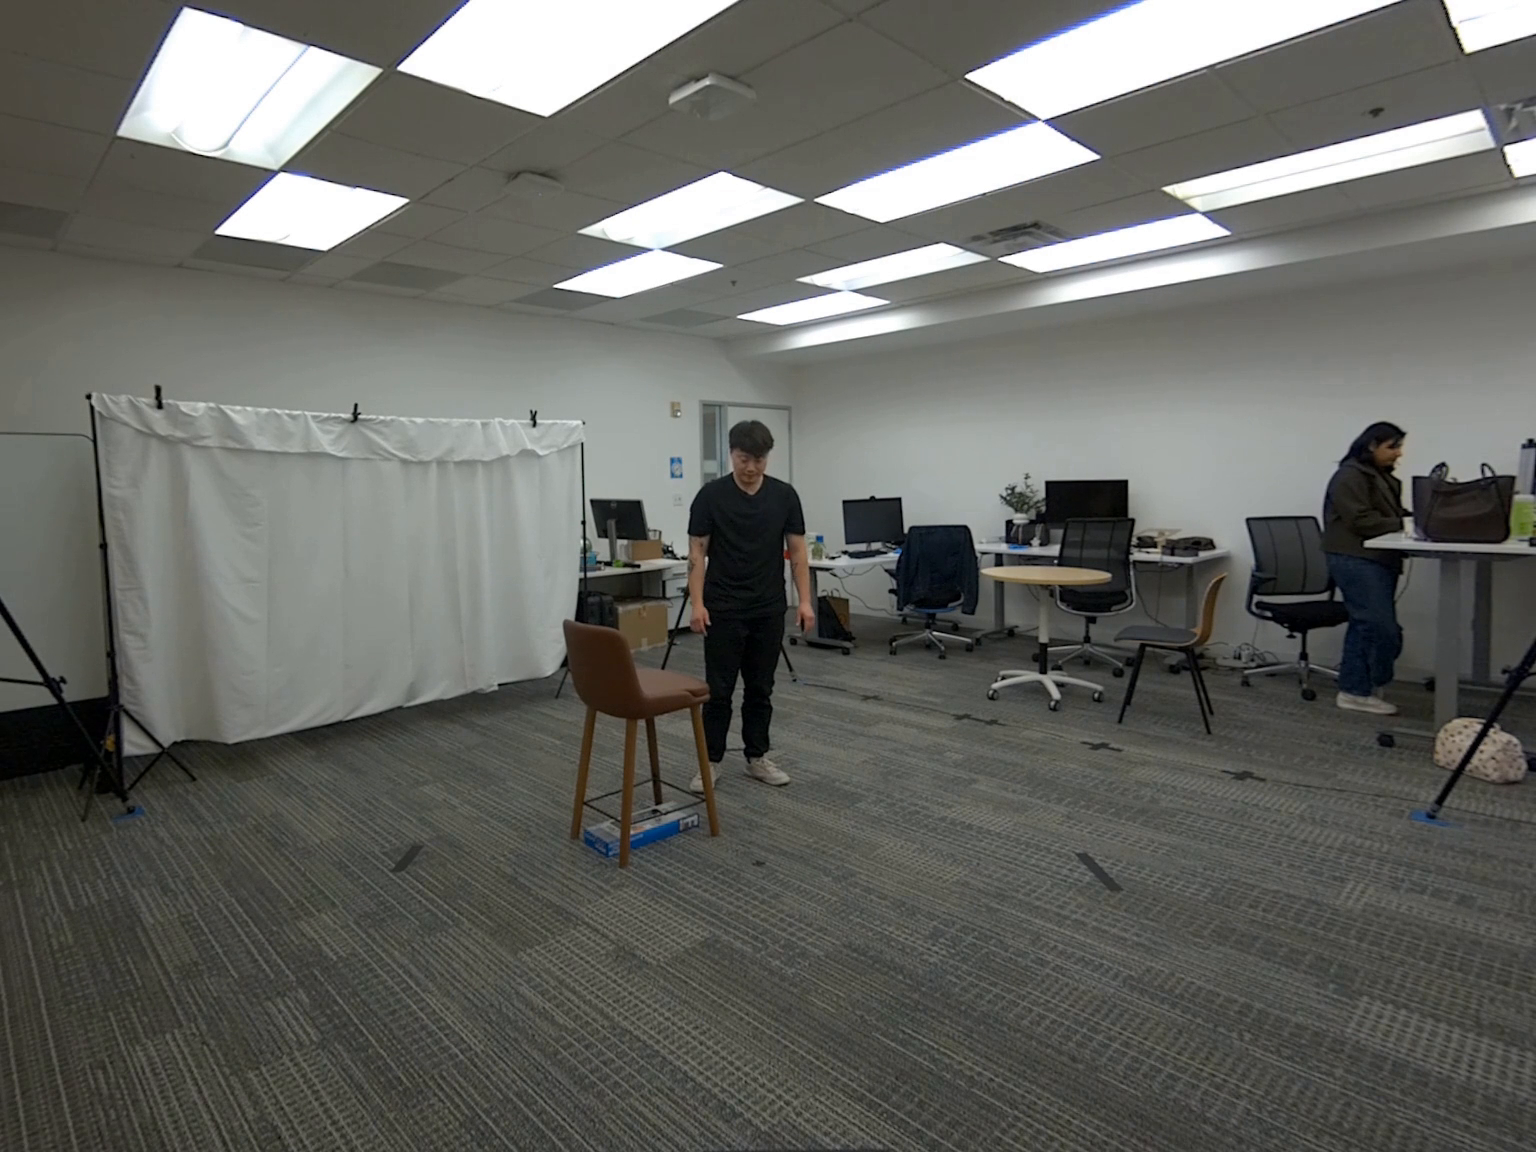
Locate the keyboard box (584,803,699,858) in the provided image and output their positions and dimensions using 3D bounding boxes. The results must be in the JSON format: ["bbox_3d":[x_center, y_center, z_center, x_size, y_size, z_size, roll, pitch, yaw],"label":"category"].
[{"bbox_3d":[-0.500,1.005,3.384,0.425,0.059,0.181,-7,8,-41],"label":"keyboard box"}]
